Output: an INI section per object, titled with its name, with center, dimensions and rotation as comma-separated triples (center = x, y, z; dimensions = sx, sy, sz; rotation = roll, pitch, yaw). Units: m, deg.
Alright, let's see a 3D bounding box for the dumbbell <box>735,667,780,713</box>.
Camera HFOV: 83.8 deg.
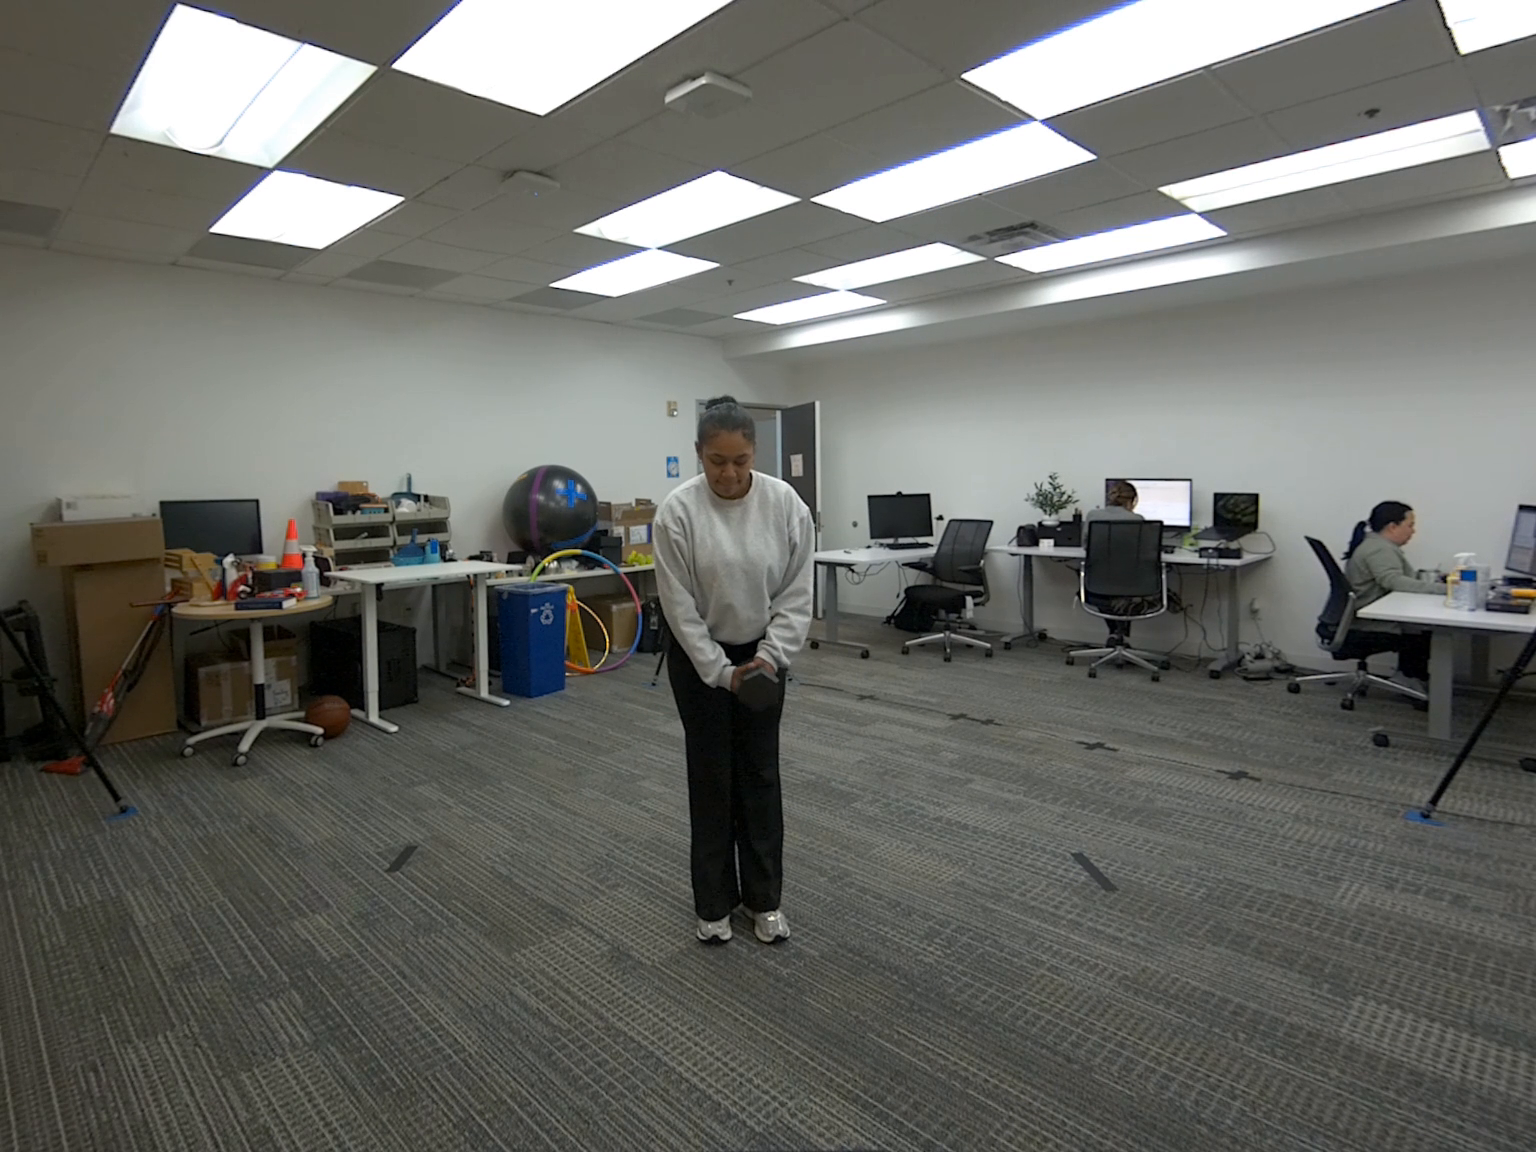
[dumbbell]
center = -0.041, 0.315, 2.463
dimensions = 0.109, 0.123, 0.294
rotation = 8, 4, -1
